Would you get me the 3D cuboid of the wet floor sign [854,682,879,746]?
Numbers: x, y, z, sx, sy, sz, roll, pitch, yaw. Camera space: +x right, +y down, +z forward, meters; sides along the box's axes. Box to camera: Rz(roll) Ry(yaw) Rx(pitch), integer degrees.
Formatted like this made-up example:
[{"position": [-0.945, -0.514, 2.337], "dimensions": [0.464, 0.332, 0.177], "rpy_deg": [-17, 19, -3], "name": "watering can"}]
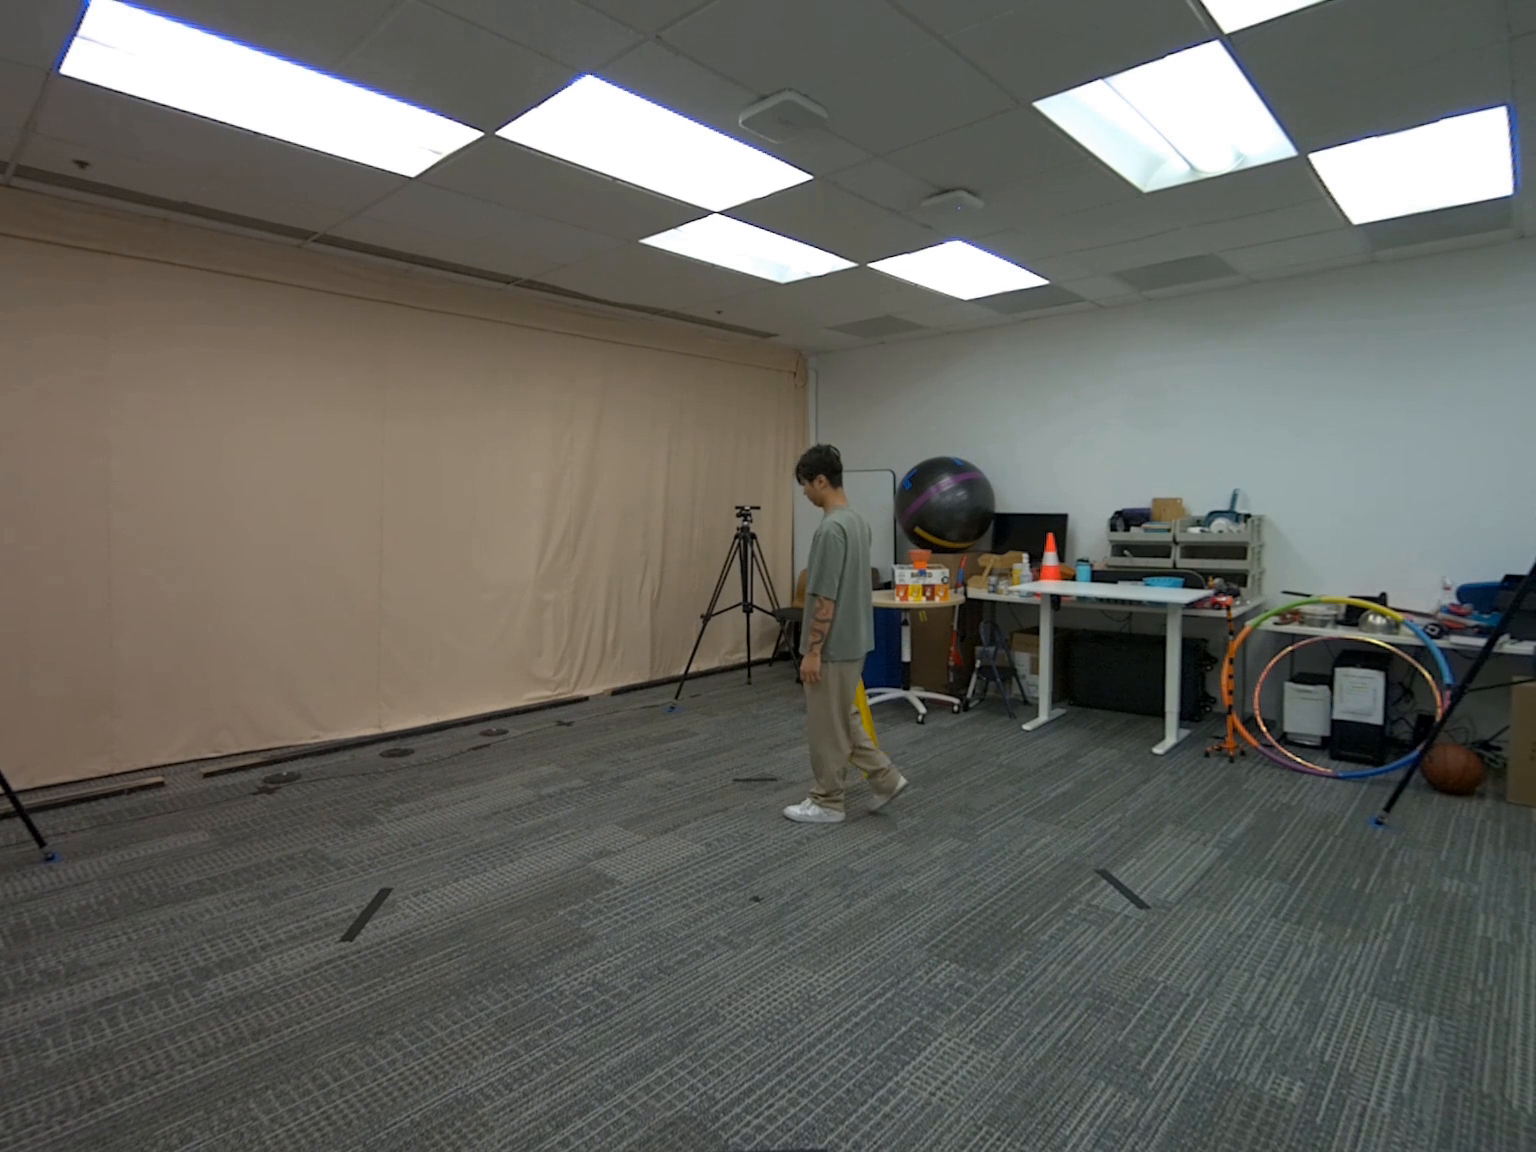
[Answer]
[{"position": [0.342, 0.623, 4.049], "dimensions": [0.286, 0.640, 0.288], "rpy_deg": [-8, 11, 12], "name": "wet floor sign"}]
